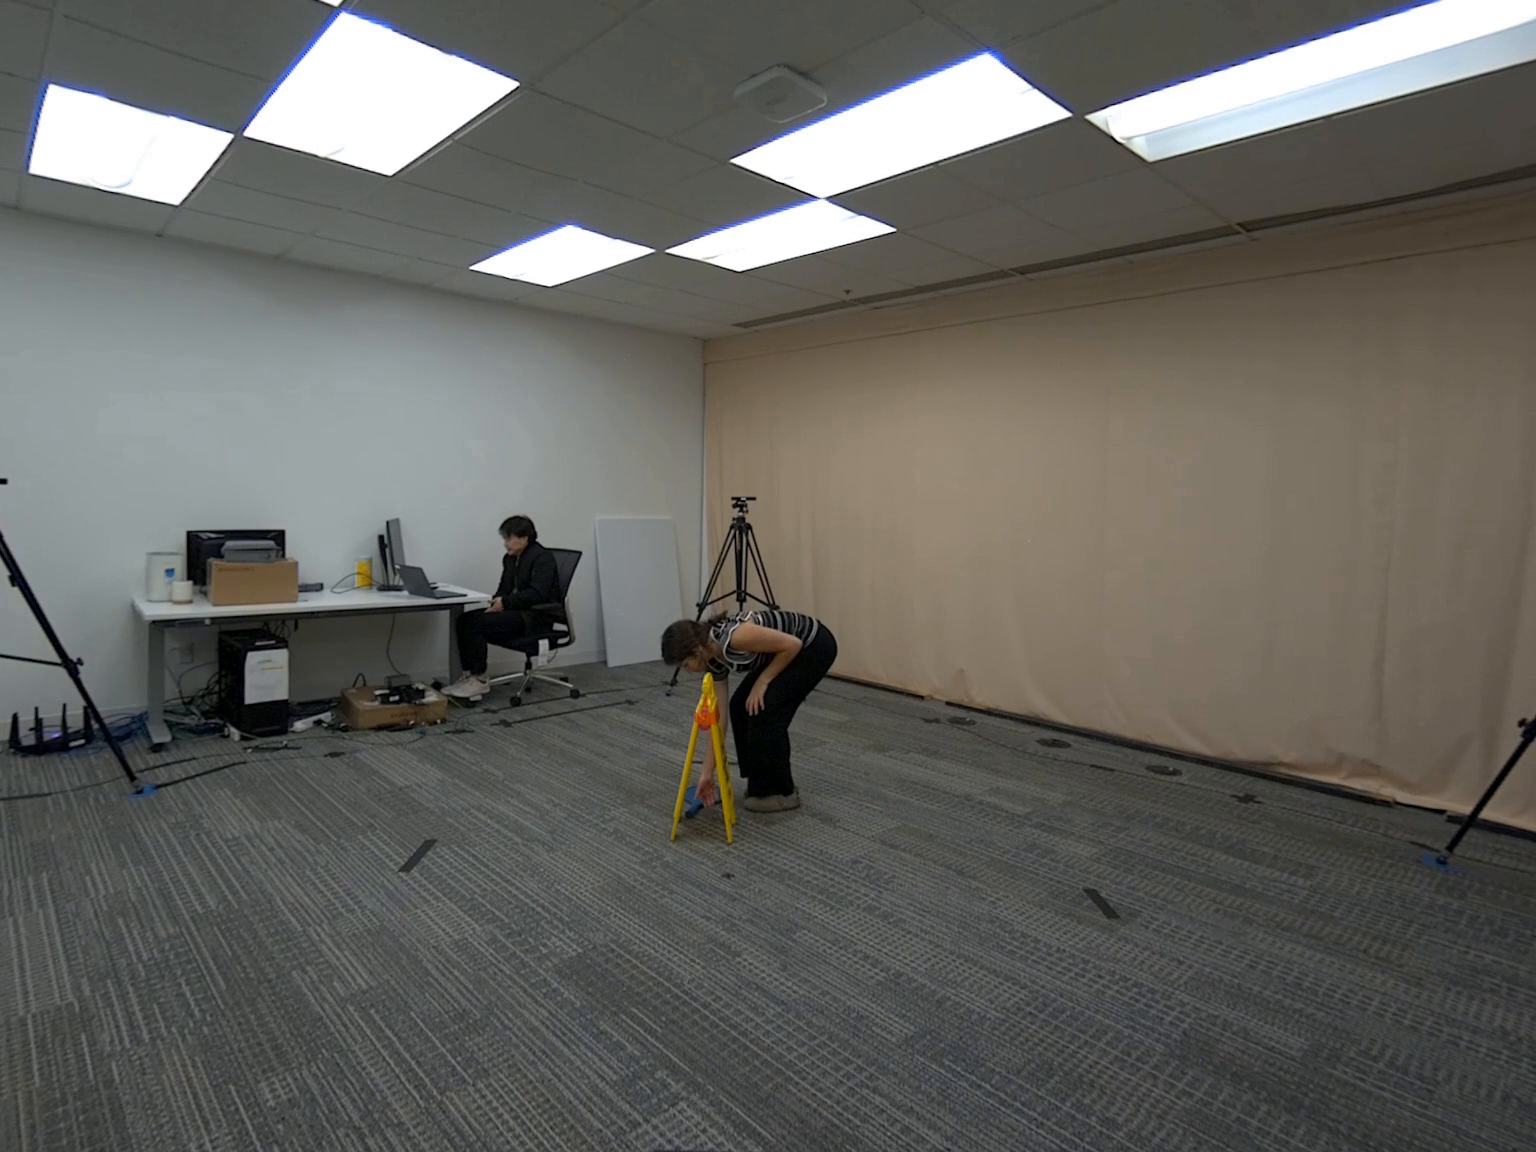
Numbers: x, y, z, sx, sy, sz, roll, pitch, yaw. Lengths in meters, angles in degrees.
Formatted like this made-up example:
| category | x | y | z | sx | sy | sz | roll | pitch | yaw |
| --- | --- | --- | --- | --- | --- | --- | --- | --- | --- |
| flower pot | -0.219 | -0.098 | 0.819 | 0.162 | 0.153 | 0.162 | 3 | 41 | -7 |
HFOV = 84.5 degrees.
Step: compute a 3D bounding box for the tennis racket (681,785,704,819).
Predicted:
| category | x | y | z | sx | sy | sz | roll | pitch | yaw |
| --- | --- | --- | --- | --- | --- | --- | --- | --- | --- |
| tennis racket | -0.310 | 1.018 | 3.860 | 0.216 | 0.032 | 0.430 | 1 | 4 | 10 |
